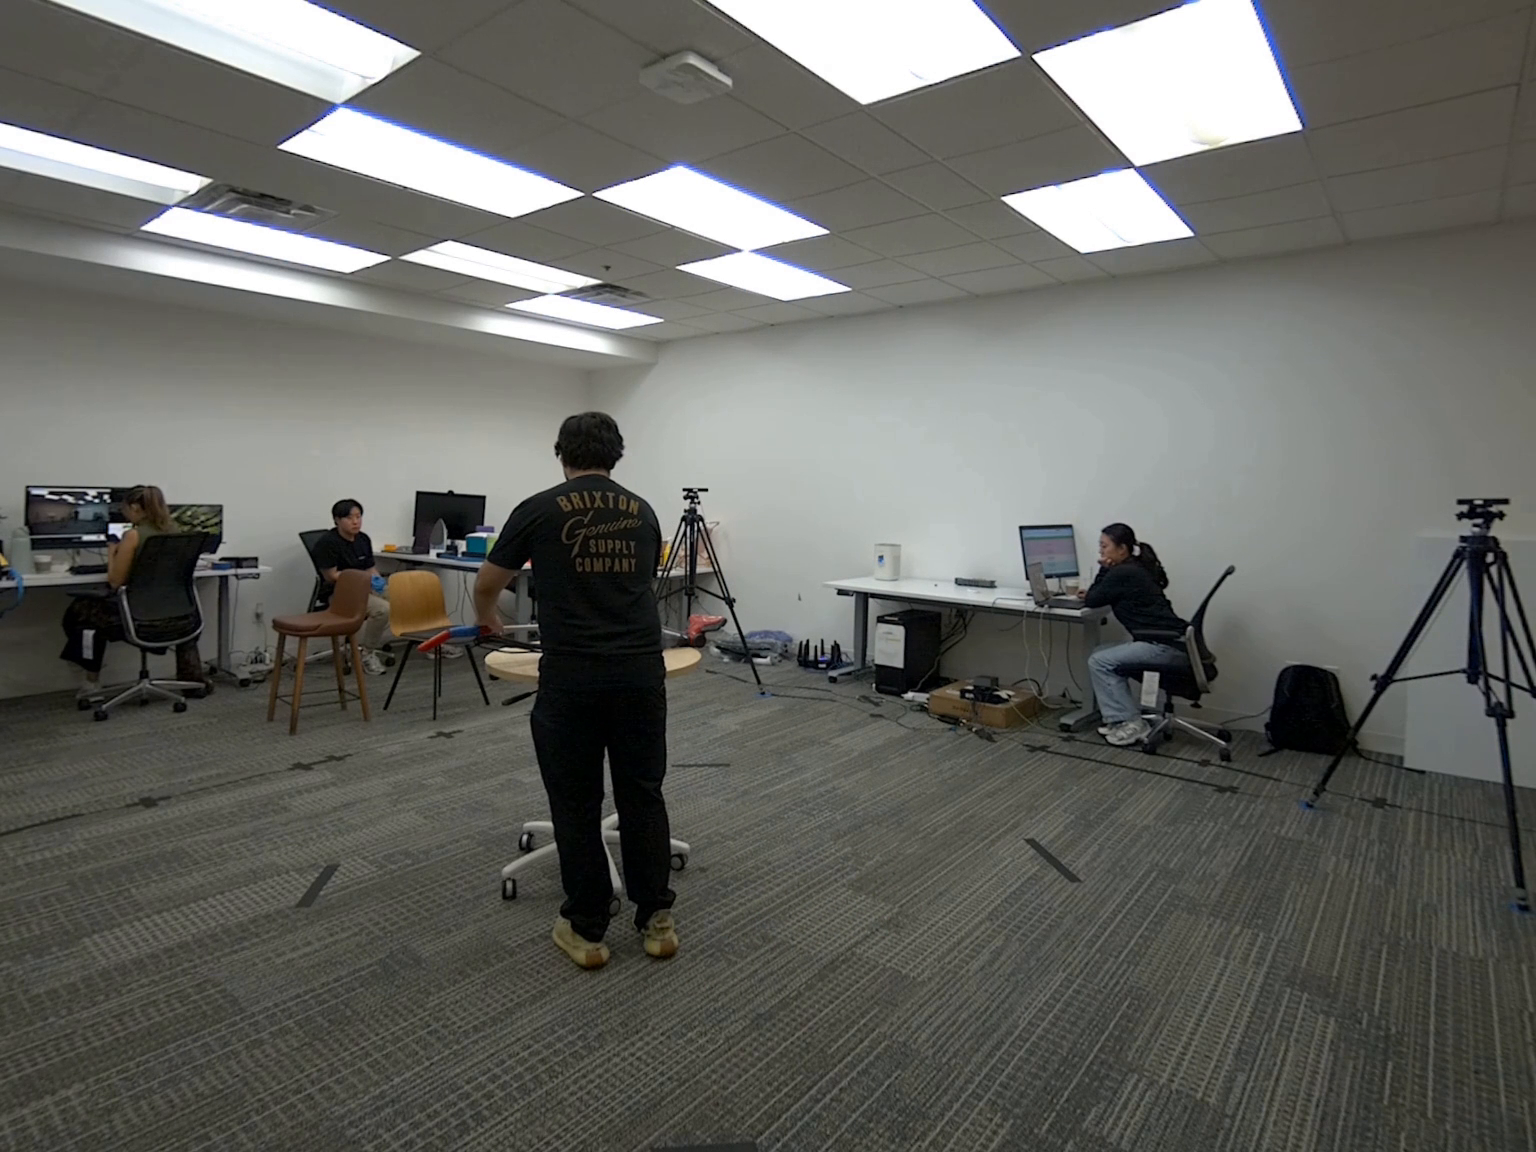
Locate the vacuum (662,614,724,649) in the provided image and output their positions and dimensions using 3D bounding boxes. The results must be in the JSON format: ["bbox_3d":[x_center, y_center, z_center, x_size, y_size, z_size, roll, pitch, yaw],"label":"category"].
[{"bbox_3d":[-0.701,0.228,3.021,1.019,0.144,0.259,0,-3,-33],"label":"vacuum"}]
